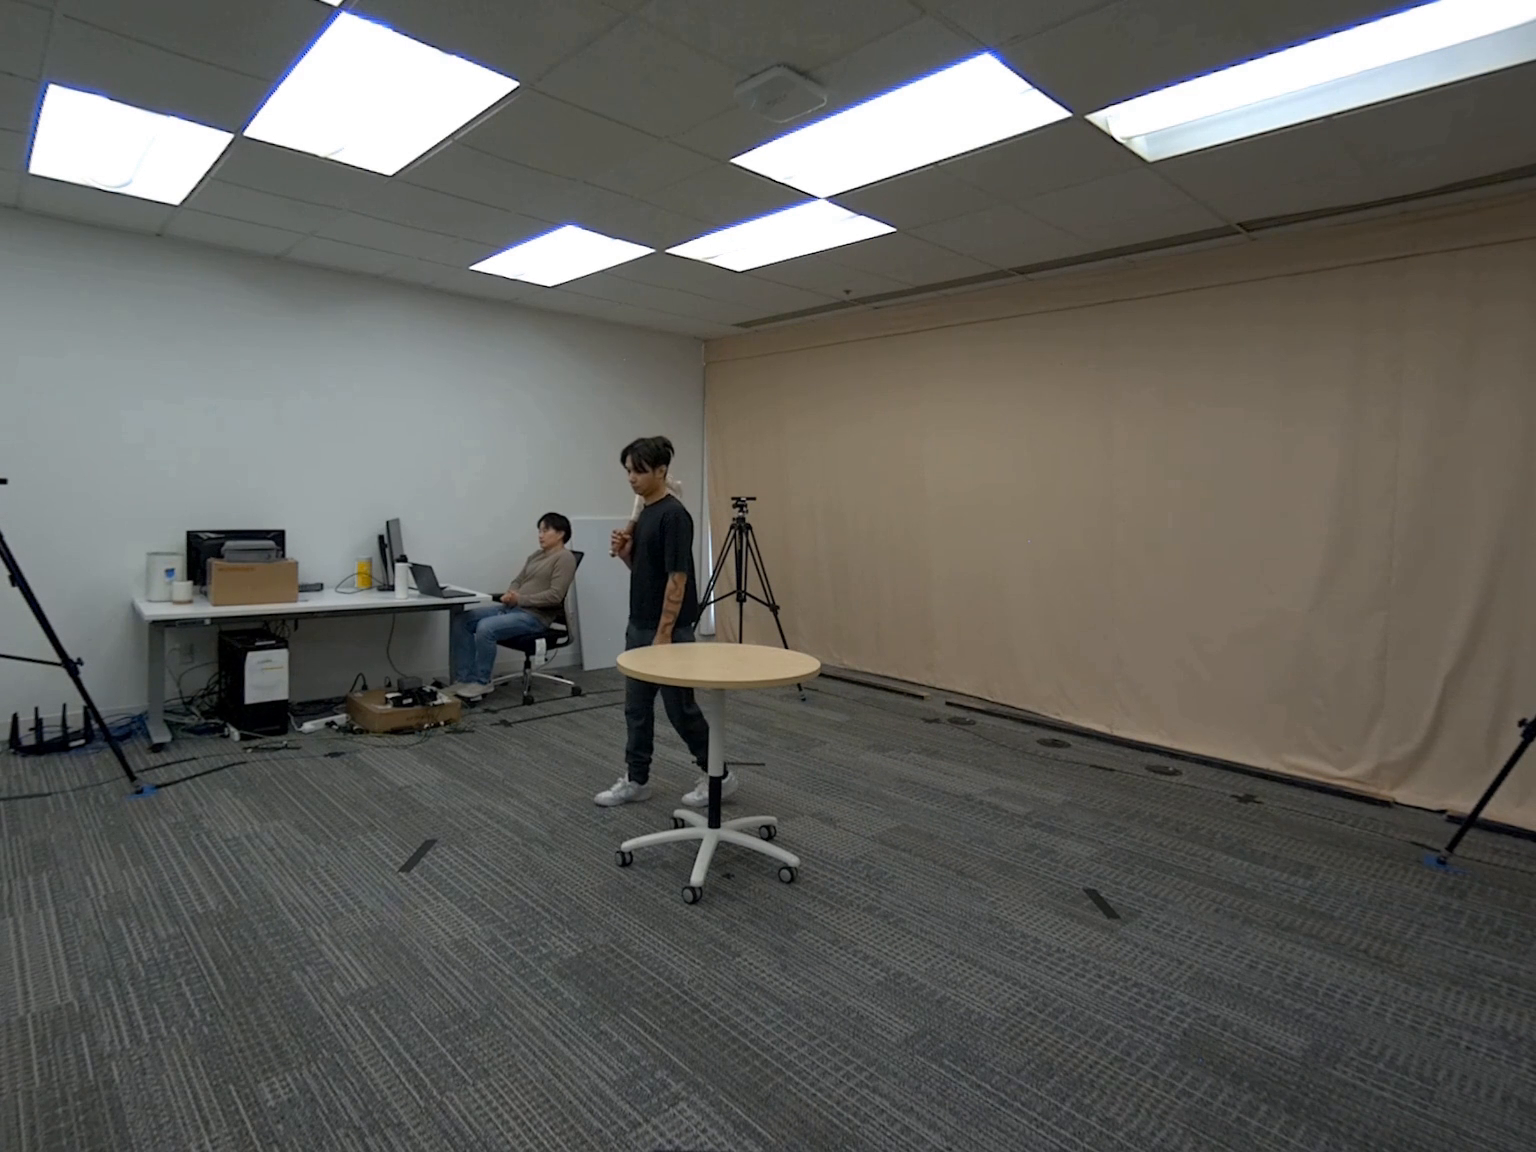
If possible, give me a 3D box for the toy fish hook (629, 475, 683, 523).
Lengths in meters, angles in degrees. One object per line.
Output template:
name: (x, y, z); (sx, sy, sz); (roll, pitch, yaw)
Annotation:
toy fish hook: (-0.549, -0.261, 3.876); (0.223, 0.510, 0.048); (31, -24, -6)
